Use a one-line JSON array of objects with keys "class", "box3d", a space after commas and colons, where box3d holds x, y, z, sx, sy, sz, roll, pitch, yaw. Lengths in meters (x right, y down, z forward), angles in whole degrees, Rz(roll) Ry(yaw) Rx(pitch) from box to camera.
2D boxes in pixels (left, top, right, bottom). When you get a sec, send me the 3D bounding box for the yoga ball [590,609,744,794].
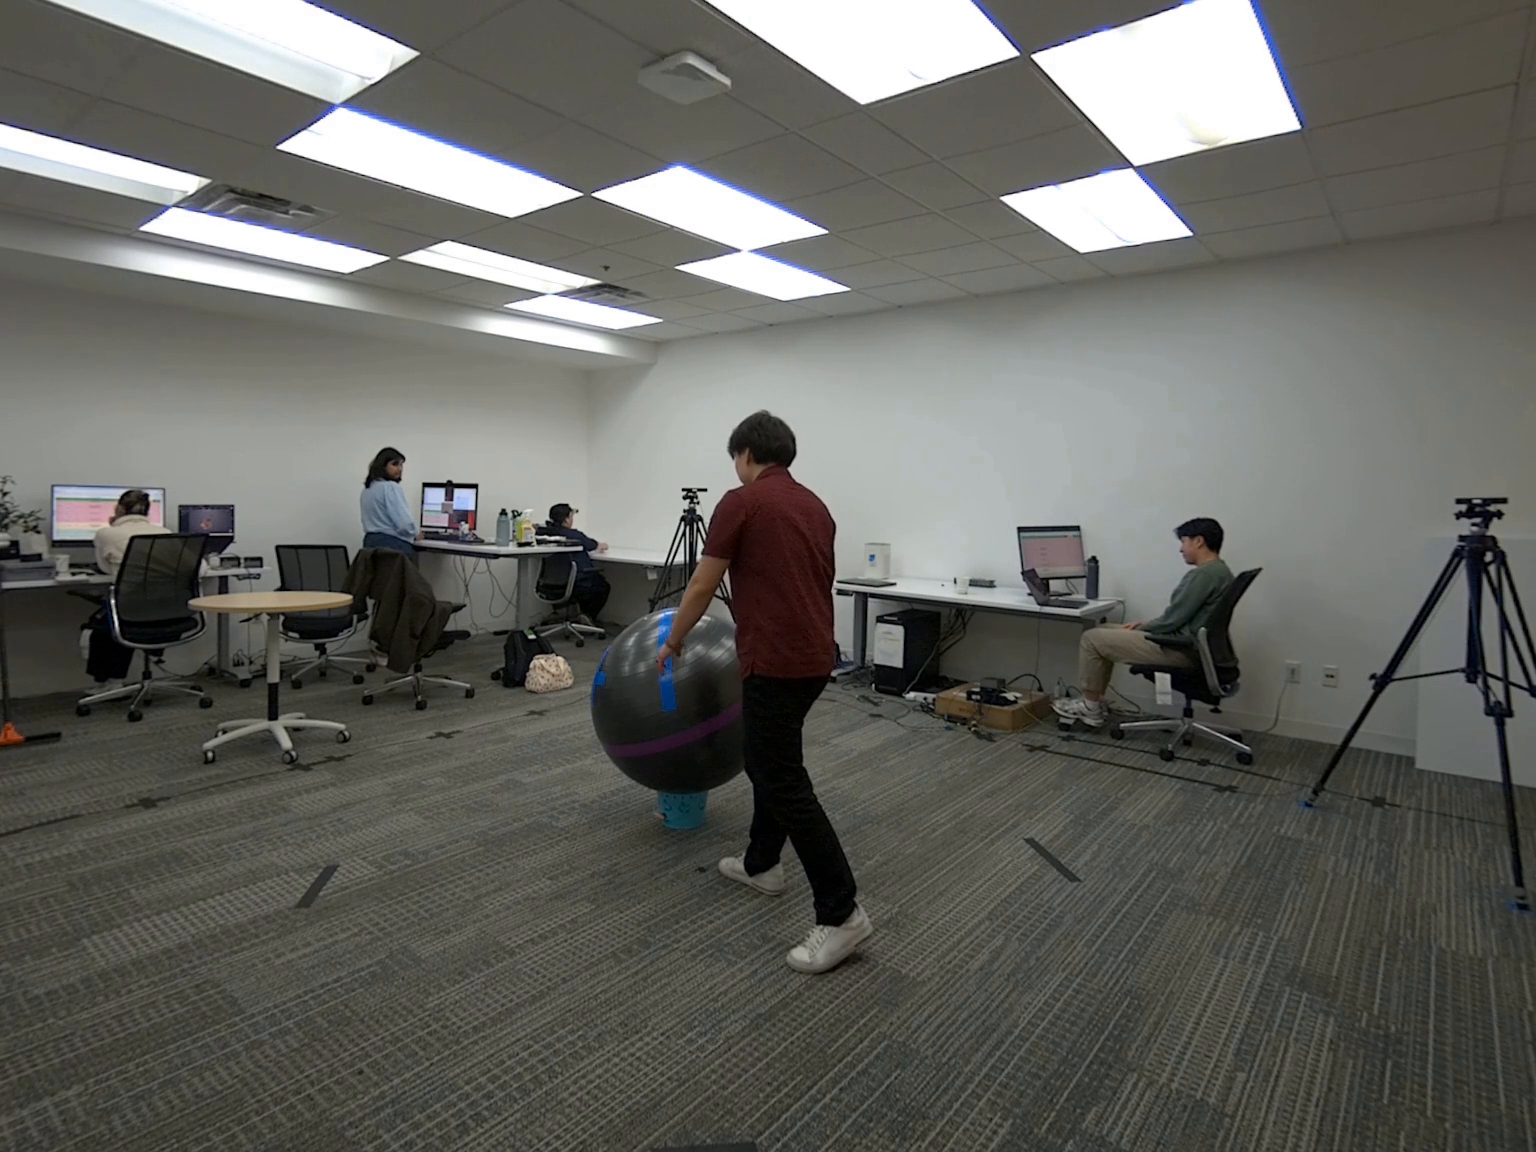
[{"class": "yoga ball", "box3d": [-0.373, 0.520, 3.555, 0.757, 0.755, 0.762, 1, 4, -2]}]
